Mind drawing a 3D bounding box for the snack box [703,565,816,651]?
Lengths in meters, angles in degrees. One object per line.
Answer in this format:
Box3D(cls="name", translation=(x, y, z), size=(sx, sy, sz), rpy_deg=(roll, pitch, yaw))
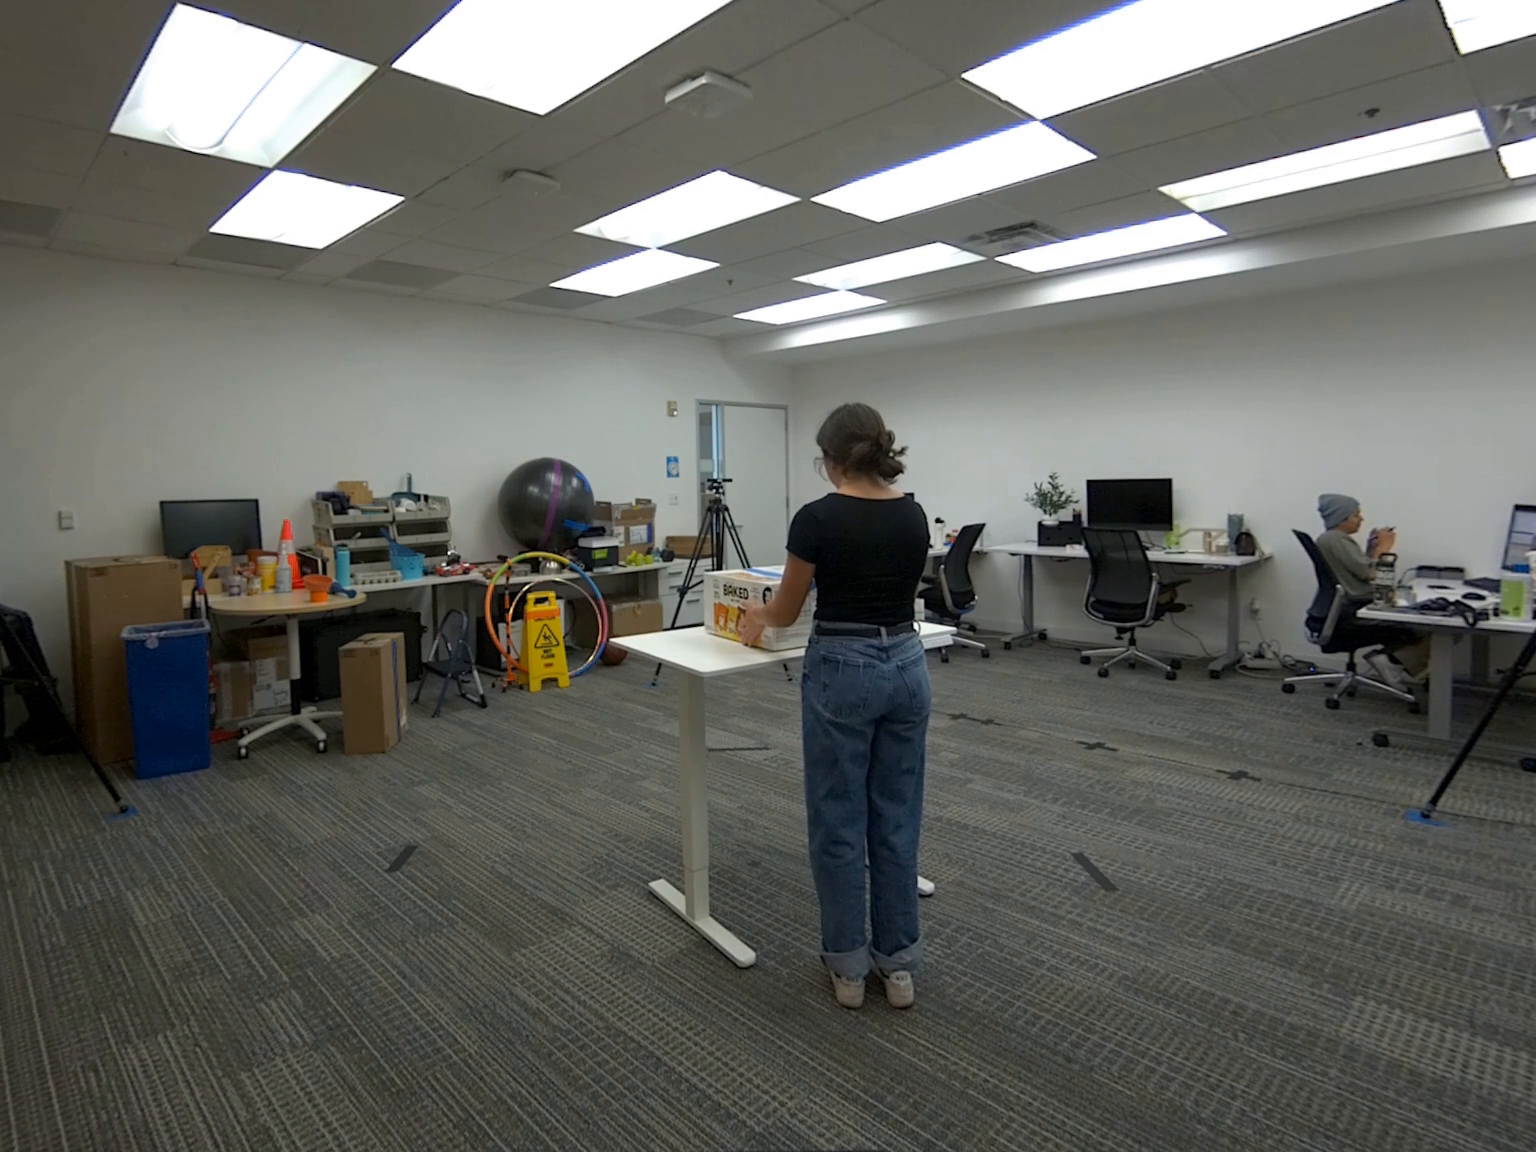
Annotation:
Box3D(cls="snack box", translation=(0.043, 0.091, 2.784), size=(0.332, 0.205, 0.417), rpy_deg=(-6, 7, -33))
